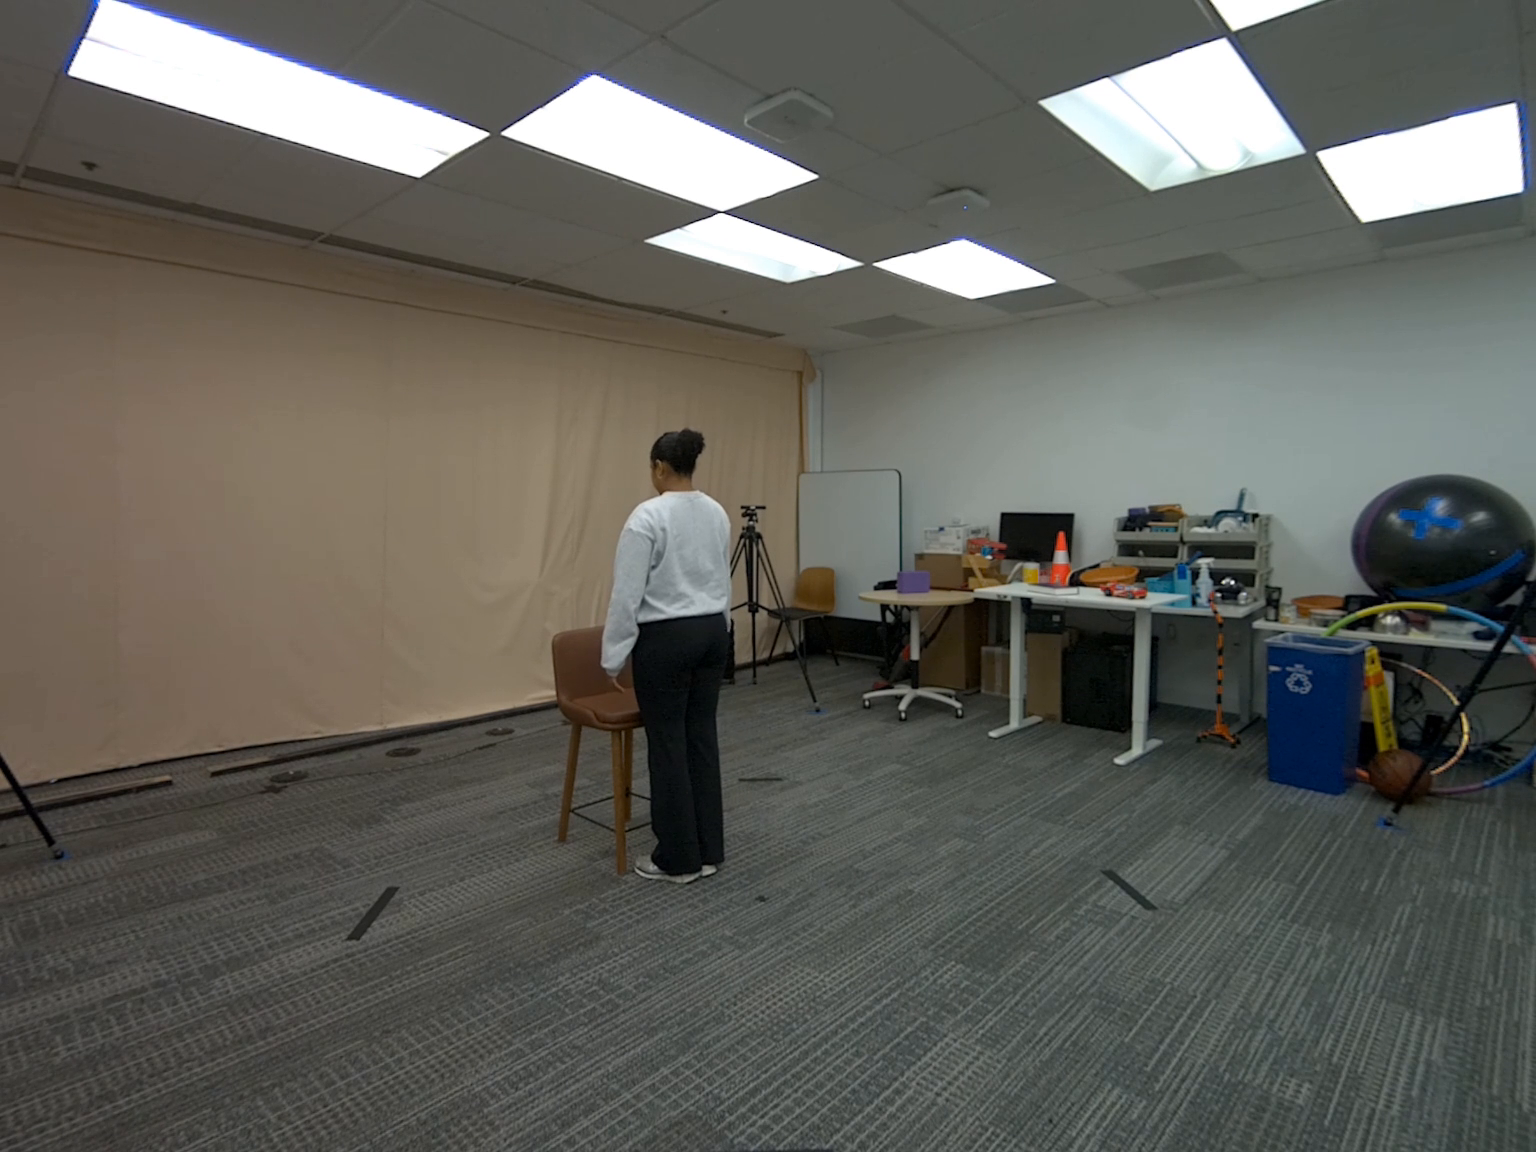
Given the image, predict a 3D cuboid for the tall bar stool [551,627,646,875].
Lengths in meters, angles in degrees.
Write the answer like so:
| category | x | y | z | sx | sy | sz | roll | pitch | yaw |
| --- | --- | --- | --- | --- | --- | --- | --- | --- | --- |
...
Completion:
| category | x | y | z | sx | sy | sz | roll | pitch | yaw |
| --- | --- | --- | --- | --- | --- | --- | --- | --- | --- |
| tall bar stool | -0.596 | 0.667 | 3.460 | 0.483 | 0.889 | 0.442 | 0 | 2 | 44 |
